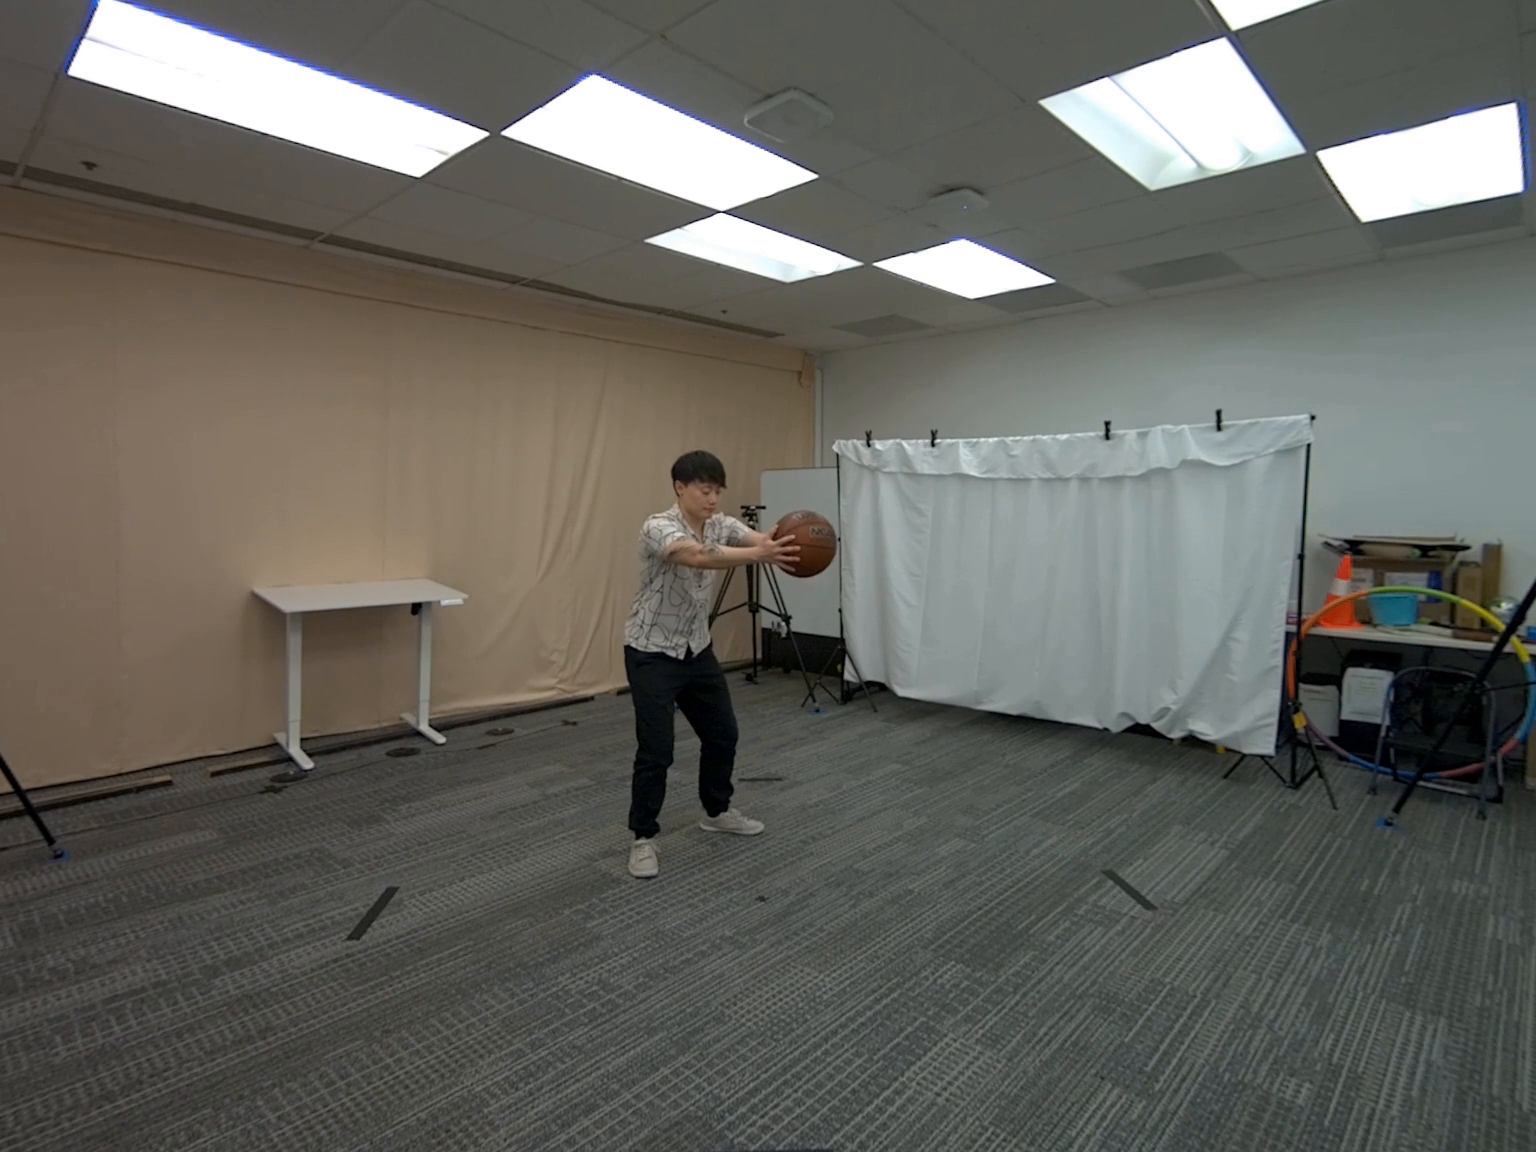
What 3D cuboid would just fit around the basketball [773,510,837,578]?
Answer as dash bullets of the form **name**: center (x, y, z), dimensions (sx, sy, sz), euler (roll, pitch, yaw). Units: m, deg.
- **basketball**: center (0.130, -0.108, 2.967), dimensions (0.236, 0.235, 0.237), euler (0, 4, -2)
